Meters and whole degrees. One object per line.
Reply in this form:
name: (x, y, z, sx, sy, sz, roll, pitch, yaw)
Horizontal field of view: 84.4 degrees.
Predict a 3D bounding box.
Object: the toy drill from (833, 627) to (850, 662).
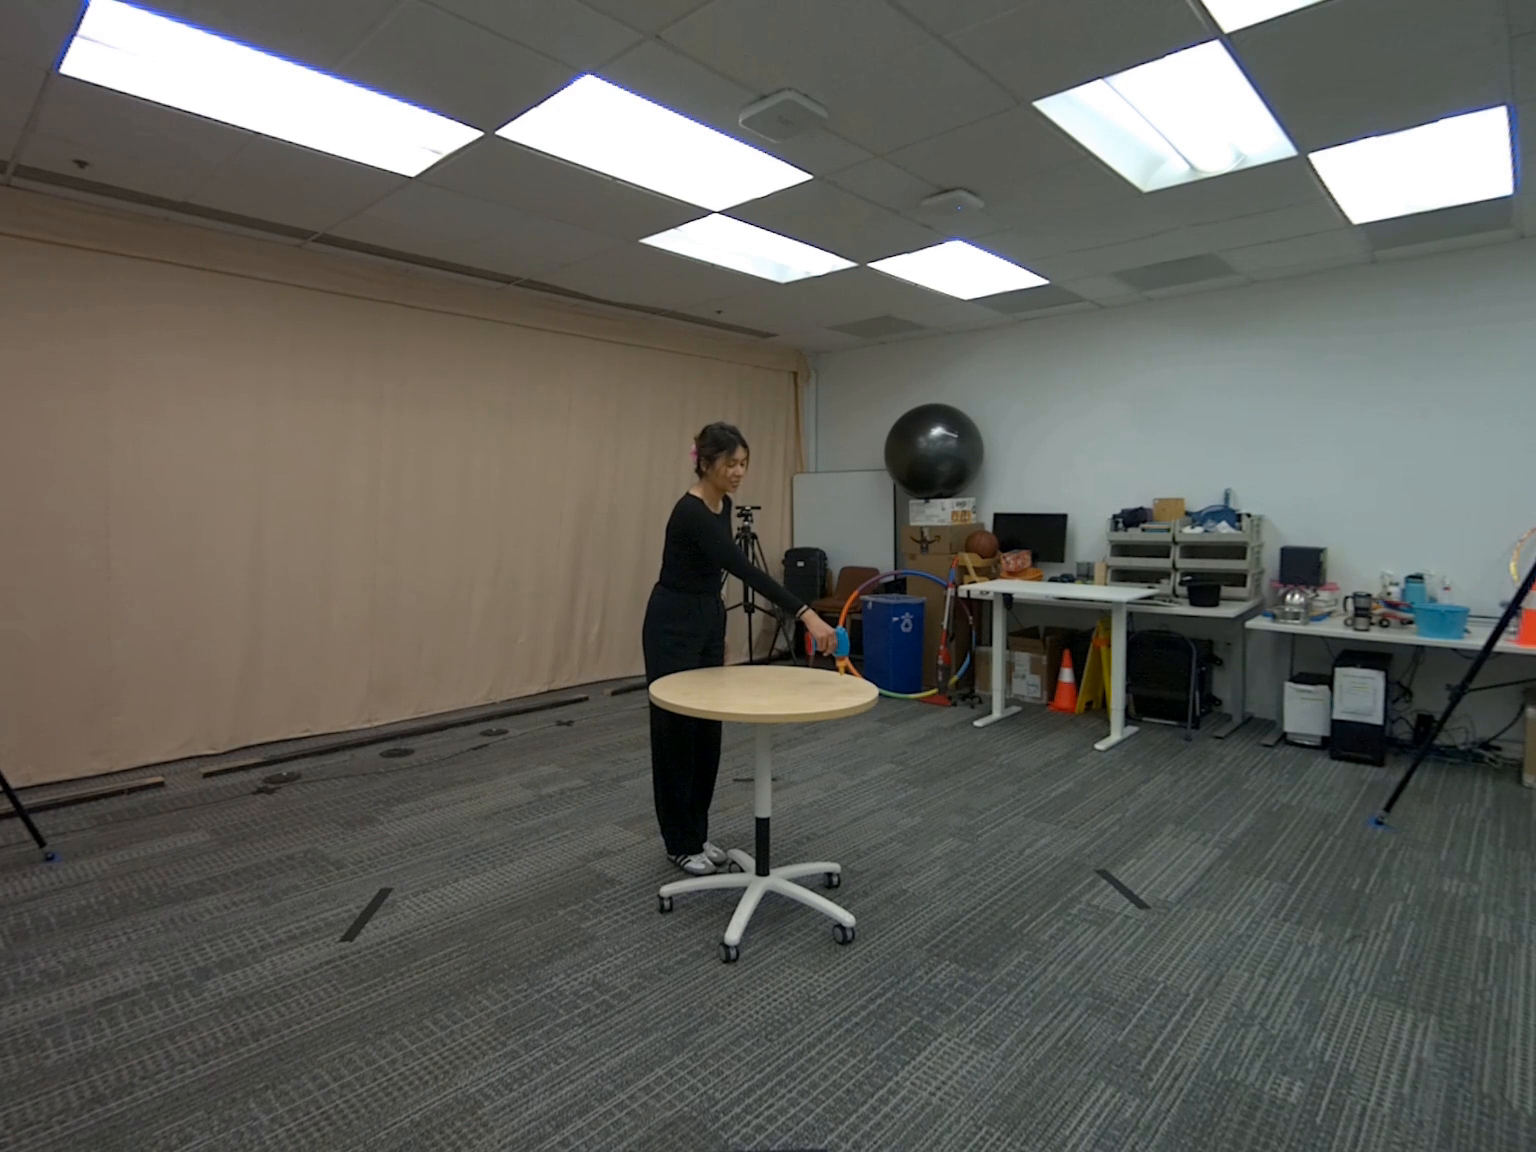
toy drill: (0.206, 0.257, 2.798, 0.144, 0.169, 0.062, -4, 9, -11)
